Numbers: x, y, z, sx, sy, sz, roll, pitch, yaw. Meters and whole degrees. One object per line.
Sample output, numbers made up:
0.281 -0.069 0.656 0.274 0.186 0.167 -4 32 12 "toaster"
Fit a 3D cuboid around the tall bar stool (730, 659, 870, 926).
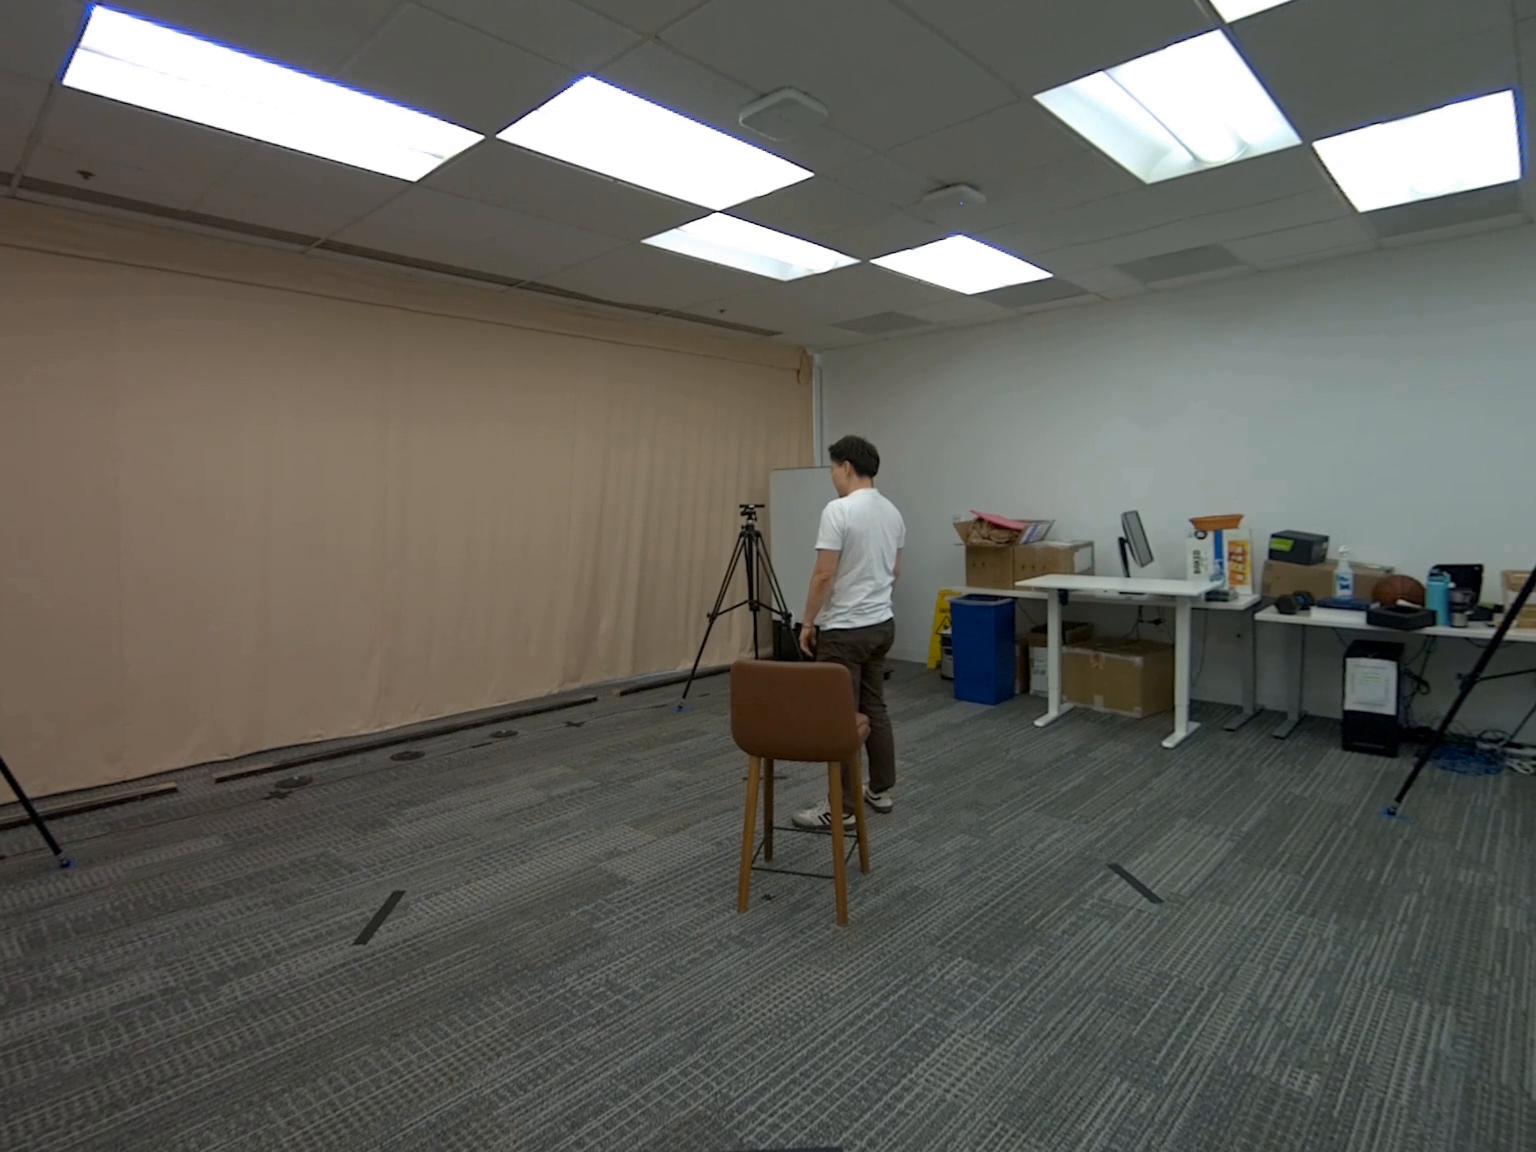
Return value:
0.125 0.700 3.012 0.465 0.887 0.460 0 5 18 "tall bar stool"
